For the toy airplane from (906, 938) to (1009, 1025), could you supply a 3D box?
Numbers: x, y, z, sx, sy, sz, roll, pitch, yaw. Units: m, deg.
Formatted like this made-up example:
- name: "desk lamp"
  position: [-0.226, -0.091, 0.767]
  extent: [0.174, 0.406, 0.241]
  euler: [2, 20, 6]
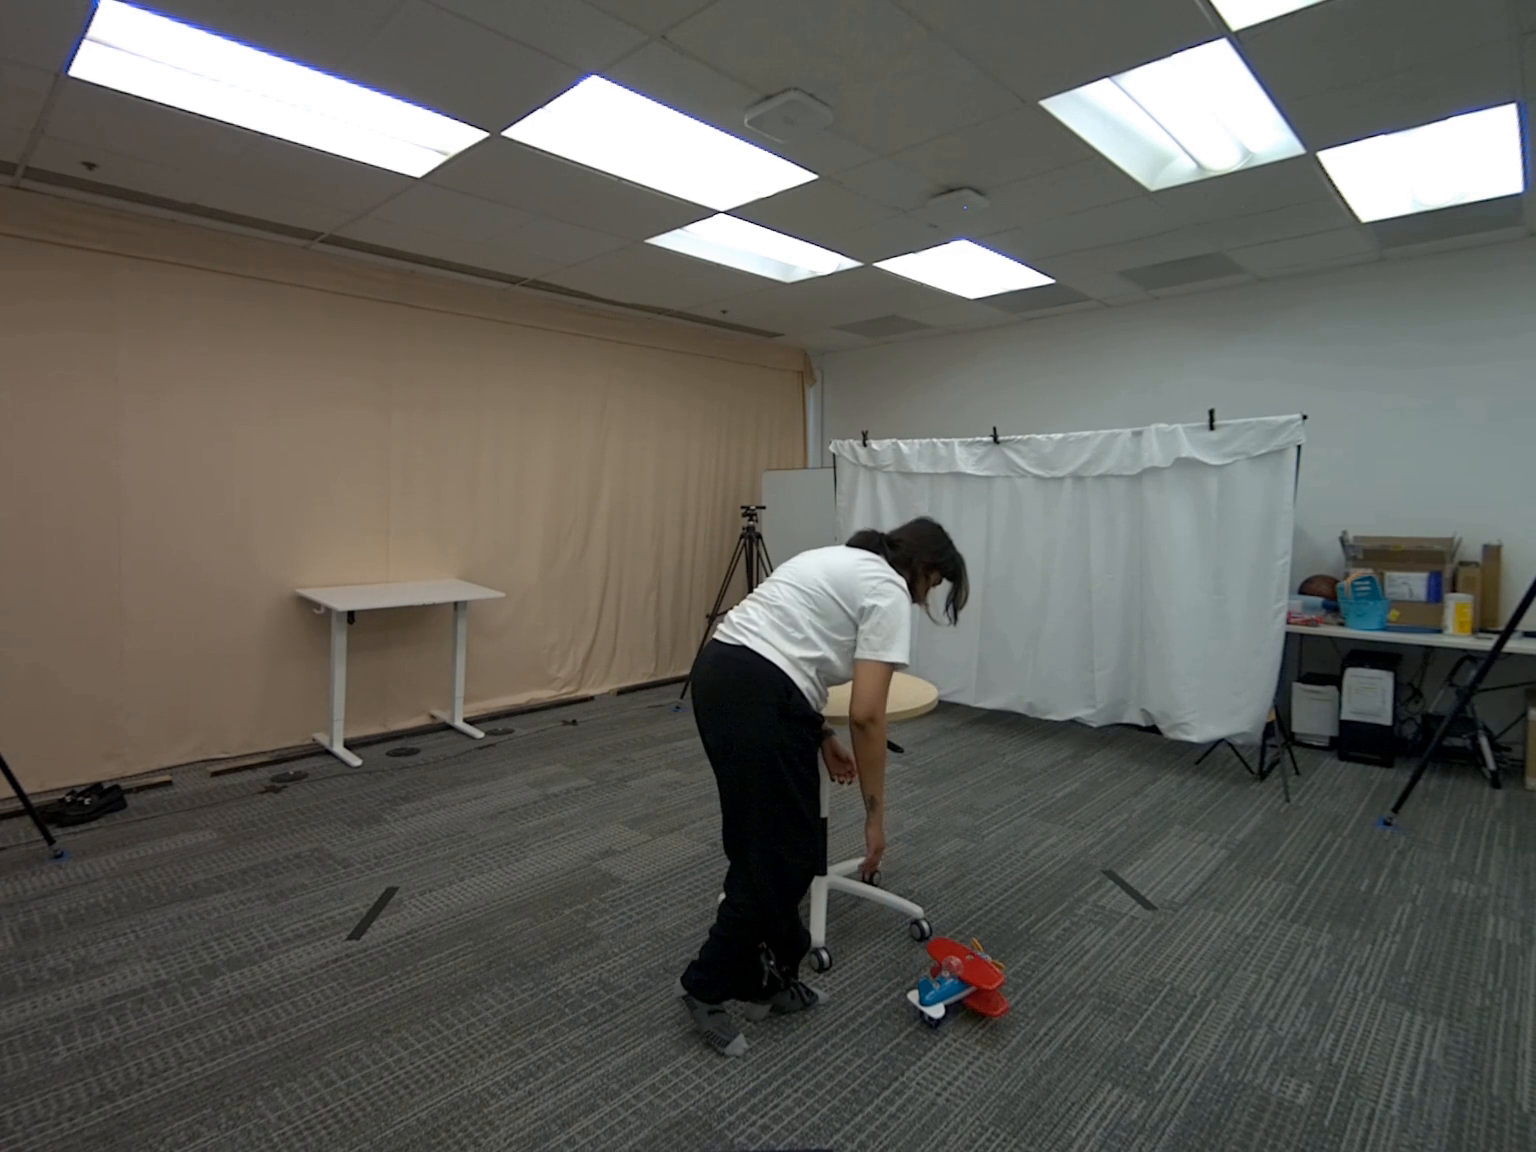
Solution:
- name: "toy airplane"
  position: [0.538, 1.133, 2.281]
  extent: [0.259, 0.156, 0.252]
  euler: [5, 5, 34]
